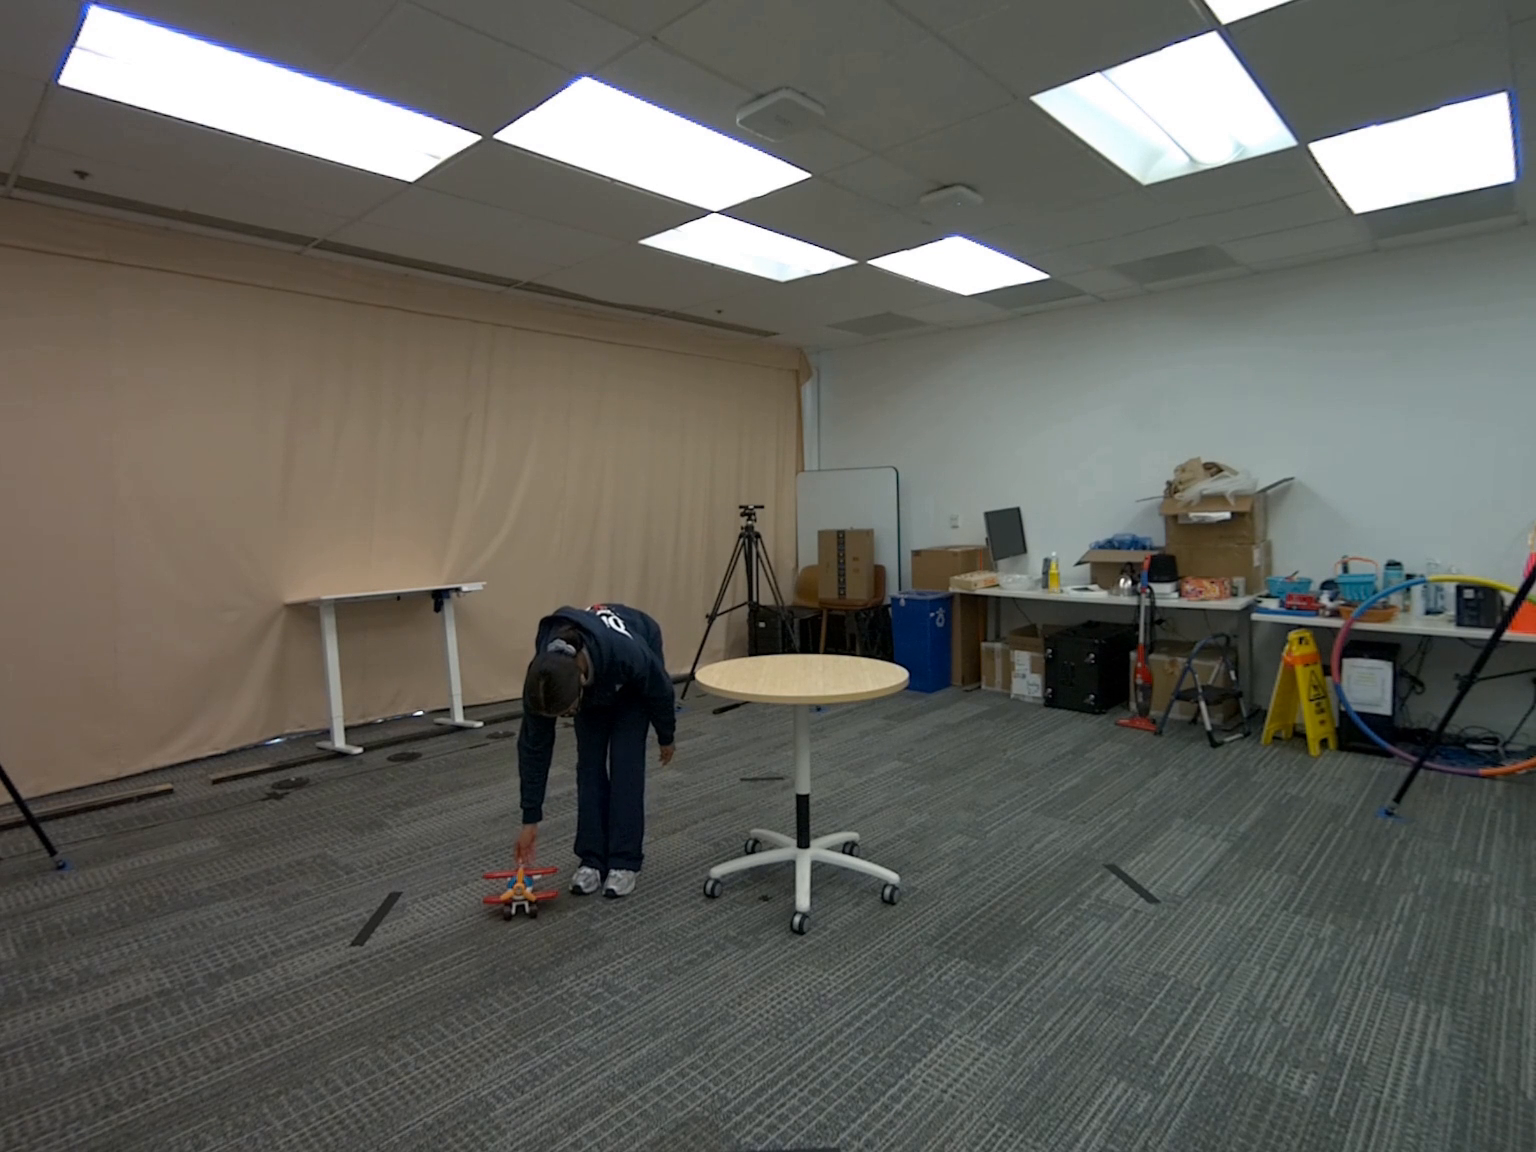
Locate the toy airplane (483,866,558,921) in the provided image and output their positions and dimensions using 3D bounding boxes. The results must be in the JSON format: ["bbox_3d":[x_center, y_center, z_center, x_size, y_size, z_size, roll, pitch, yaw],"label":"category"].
[{"bbox_3d":[-0.889,1.094,2.953,0.243,0.156,0.267,-4,4,-38],"label":"toy airplane"}]
